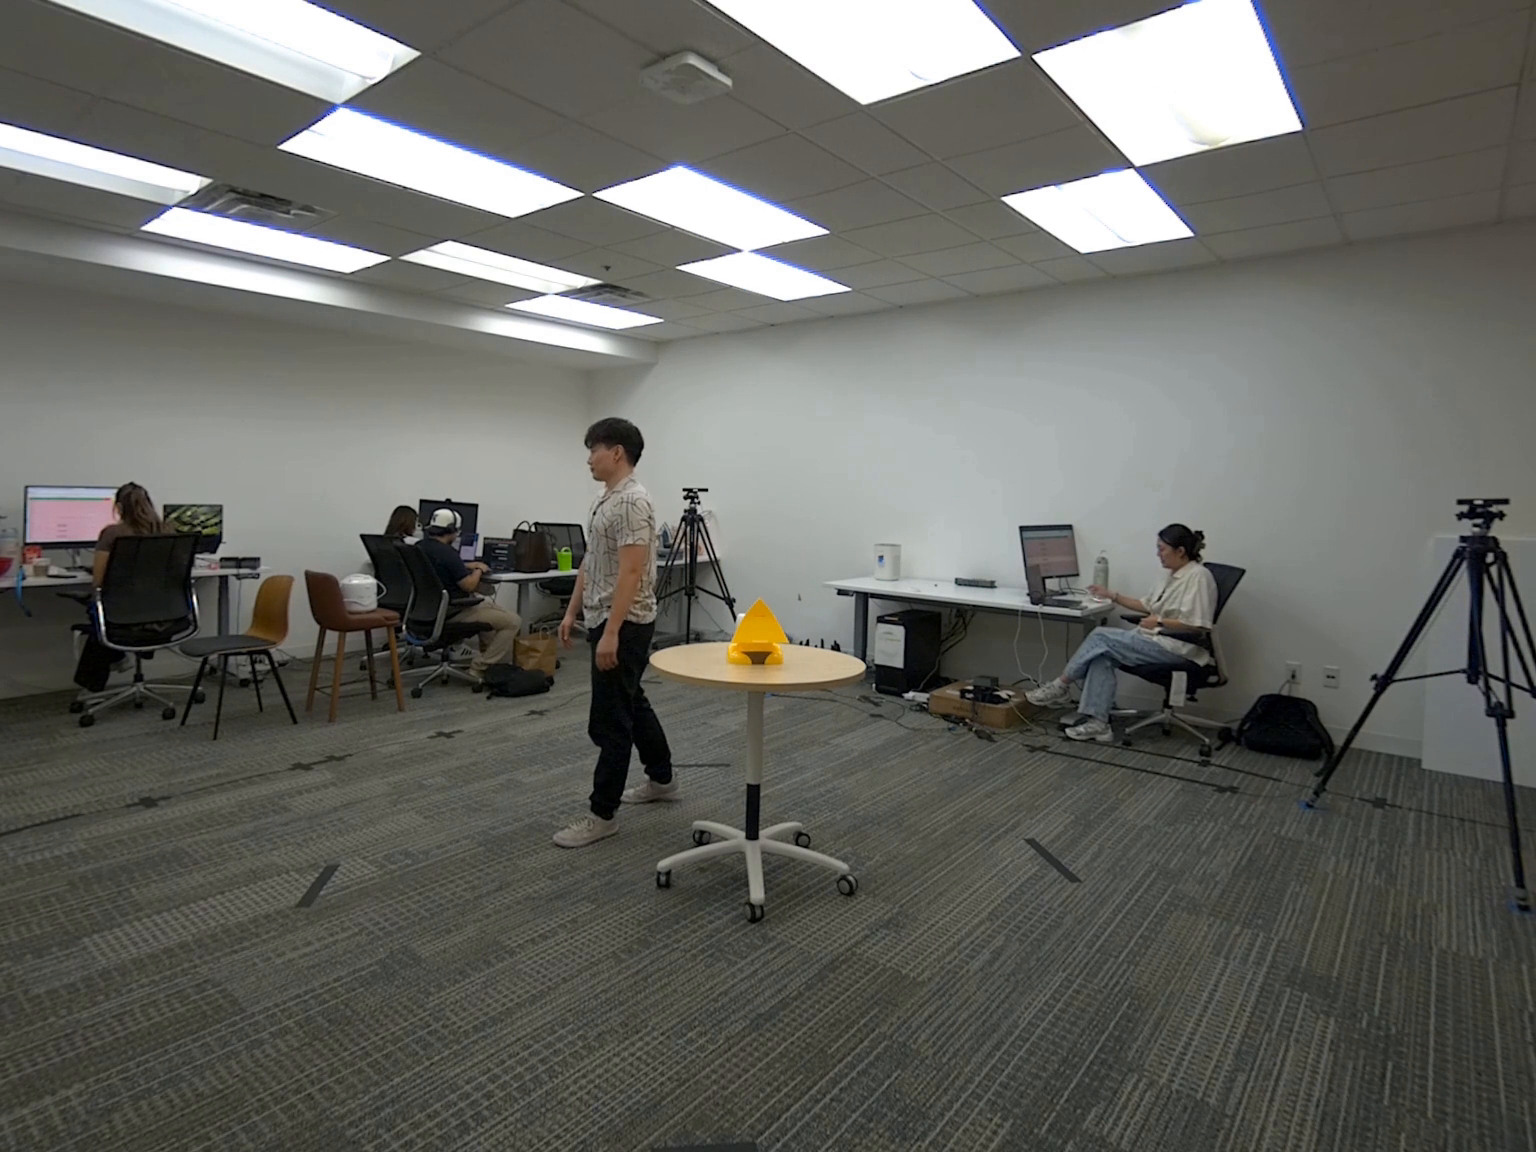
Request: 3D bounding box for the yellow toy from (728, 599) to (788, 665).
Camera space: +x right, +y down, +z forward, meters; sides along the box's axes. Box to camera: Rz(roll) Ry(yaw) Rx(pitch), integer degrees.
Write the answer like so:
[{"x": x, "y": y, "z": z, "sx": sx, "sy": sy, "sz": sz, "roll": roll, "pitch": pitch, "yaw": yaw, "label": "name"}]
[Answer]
[{"x": -0.054, "y": 0.185, "z": 3.020, "sx": 0.203, "sy": 0.230, "sz": 0.195, "roll": 1, "pitch": 4, "yaw": -10, "label": "yellow toy"}]
